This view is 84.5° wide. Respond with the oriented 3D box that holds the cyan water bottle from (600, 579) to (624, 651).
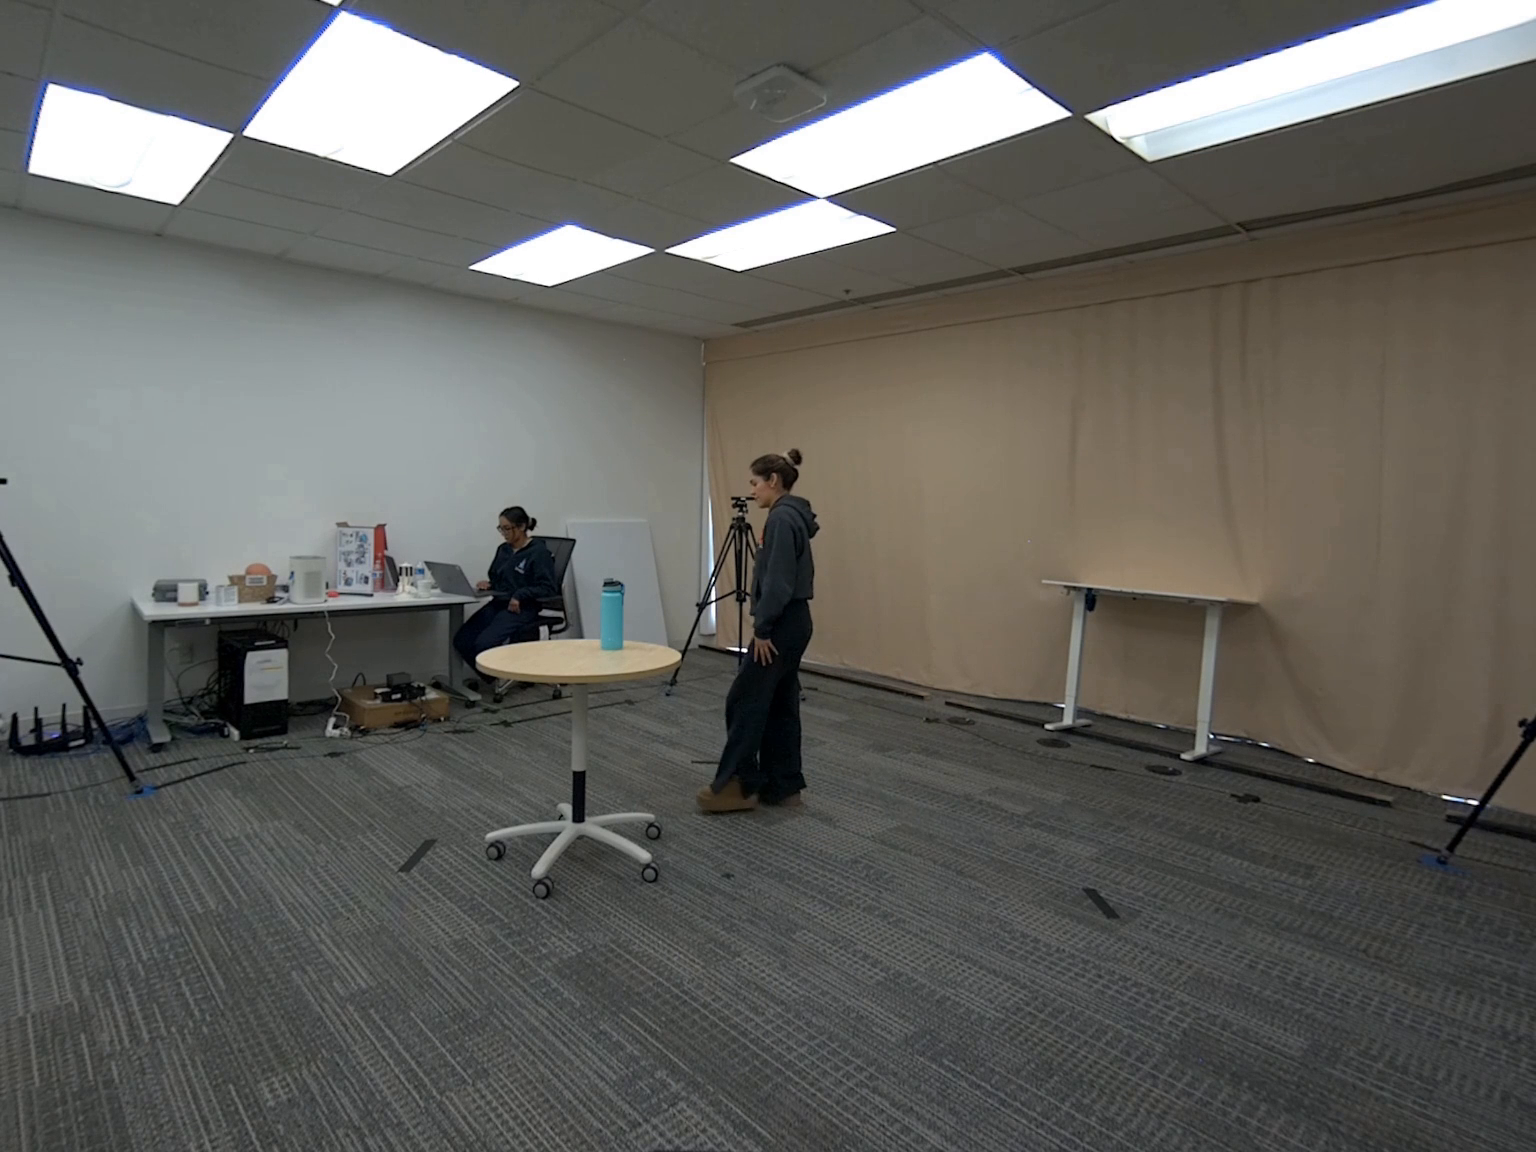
[{"bbox_3d":[-0.628,0.150,3.361,0.092,0.283,0.092,2,2,-1],"label":"cyan water bottle"}]
